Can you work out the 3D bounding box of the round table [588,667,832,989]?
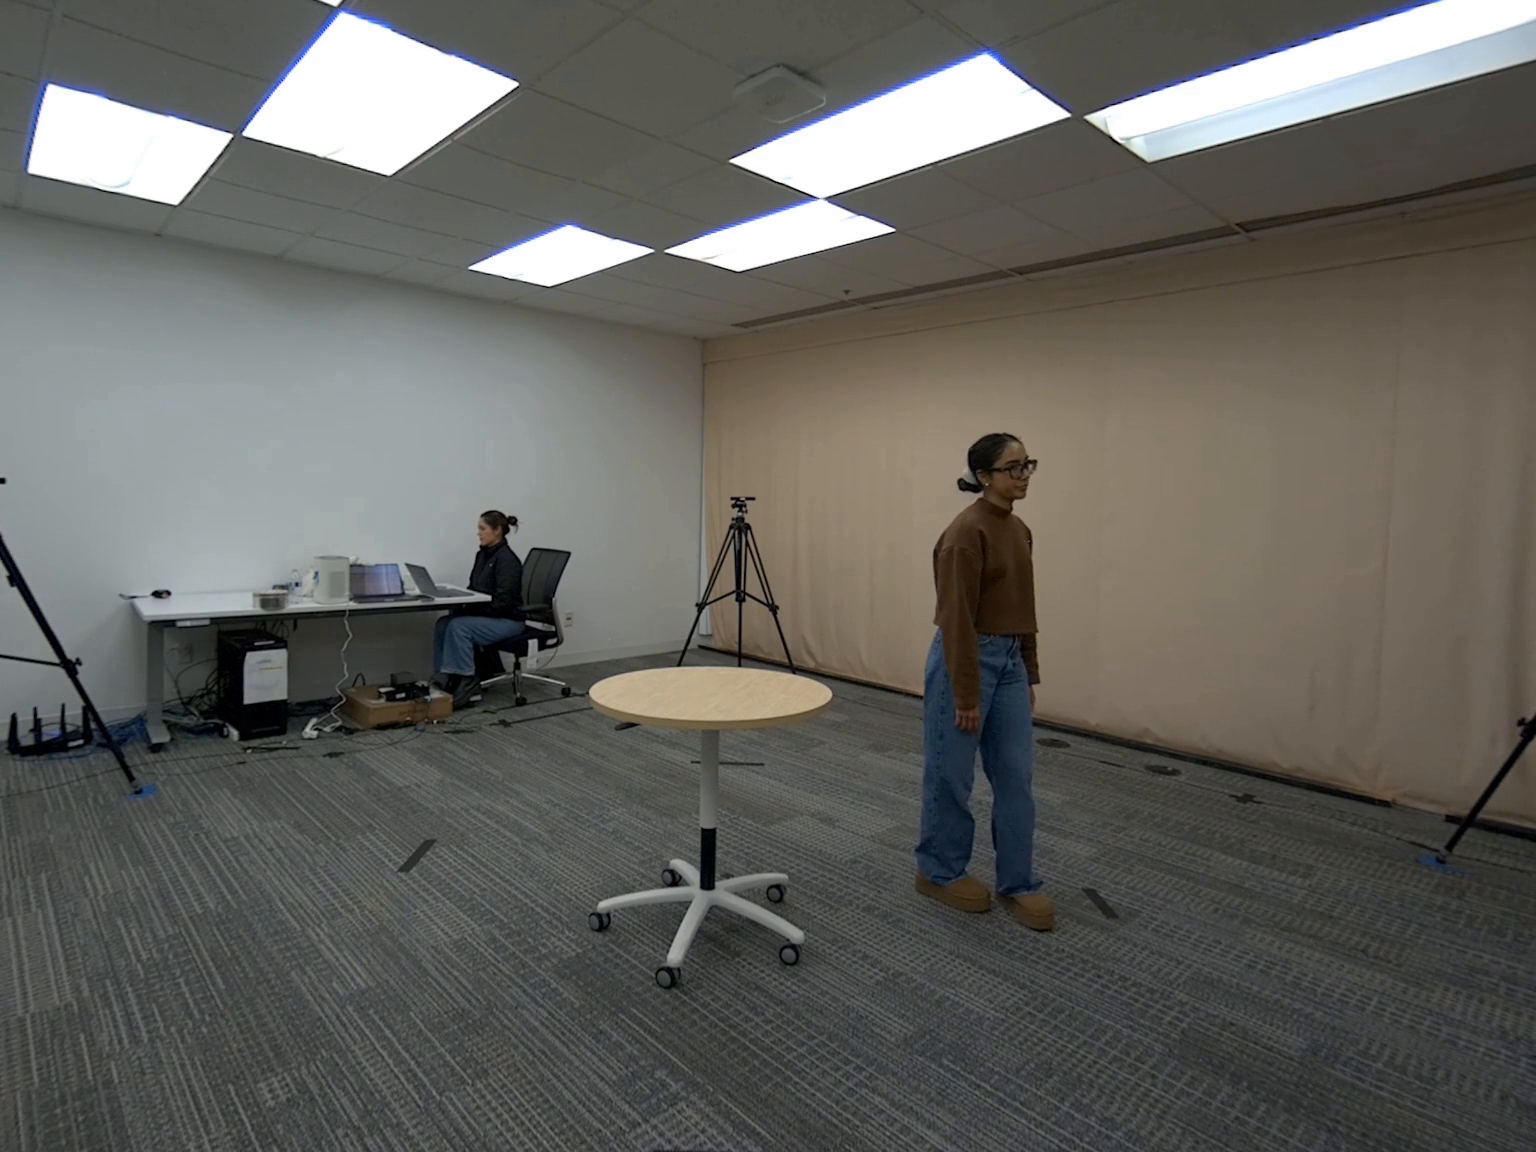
[{"bbox_3d":[-0.194,0.757,2.684,0.763,0.792,0.767,1,4,-1],"label":"round table"}]
